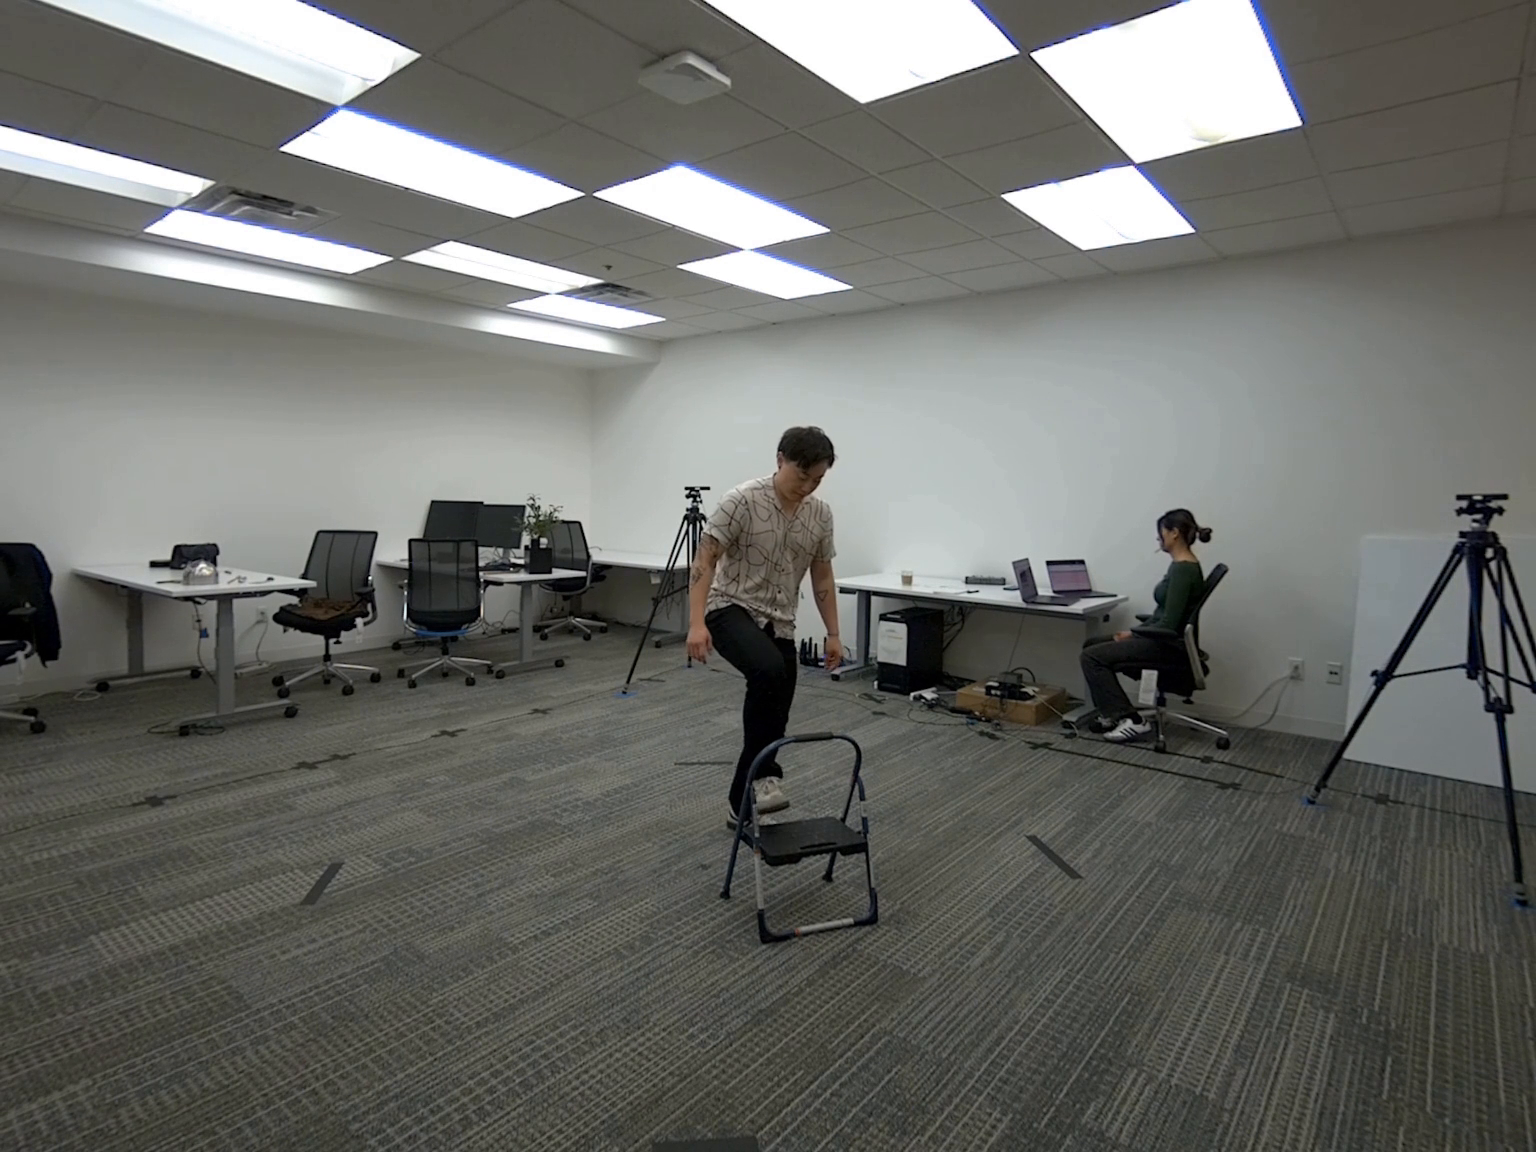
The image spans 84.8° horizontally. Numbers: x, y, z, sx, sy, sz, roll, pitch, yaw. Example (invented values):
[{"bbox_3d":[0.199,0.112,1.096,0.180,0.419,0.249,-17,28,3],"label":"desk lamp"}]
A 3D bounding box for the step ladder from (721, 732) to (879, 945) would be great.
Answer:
[{"bbox_3d":[0.098,0.796,2.806,0.421,0.604,0.358,0,4,-24],"label":"step ladder"}]
